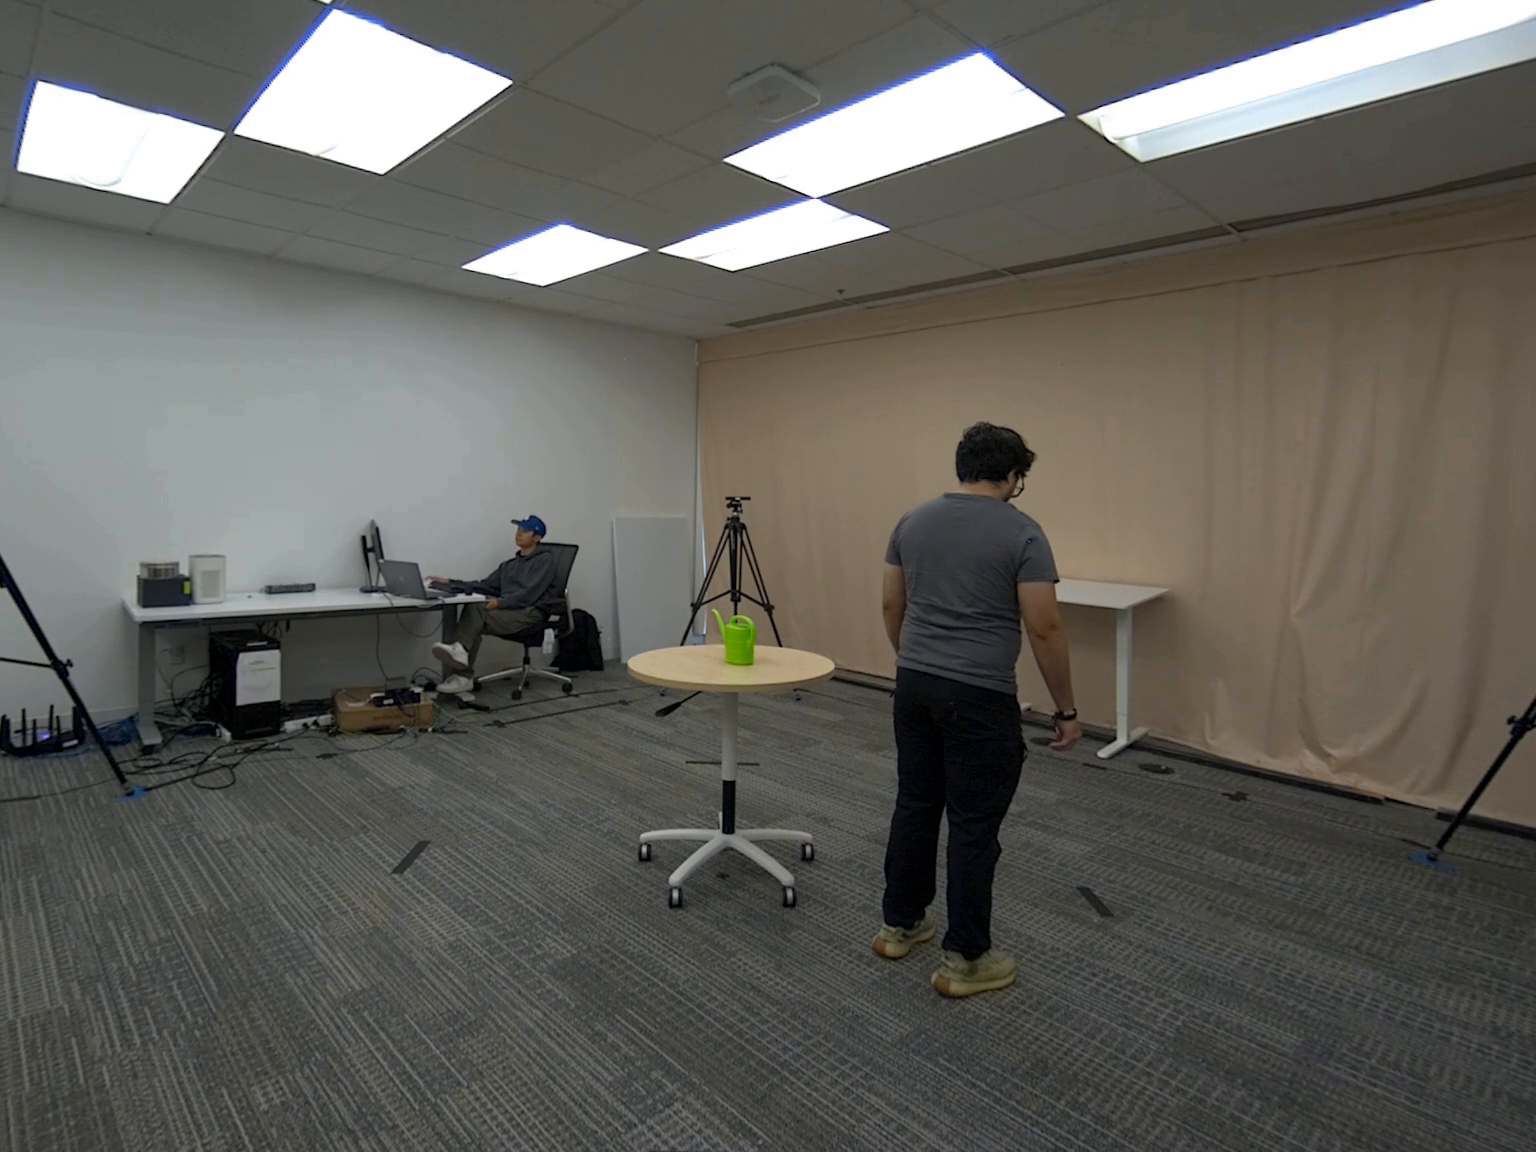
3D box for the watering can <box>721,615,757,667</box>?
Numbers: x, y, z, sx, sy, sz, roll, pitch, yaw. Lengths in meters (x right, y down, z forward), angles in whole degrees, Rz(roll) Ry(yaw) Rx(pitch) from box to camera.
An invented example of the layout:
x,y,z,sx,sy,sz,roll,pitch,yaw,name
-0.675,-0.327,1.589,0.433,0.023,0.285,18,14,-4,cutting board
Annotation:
x,y,z,sx,sy,sz,roll,pitch,yaw,name
-0.130,0.231,3.157,0.096,0.176,0.283,0,6,-22,watering can
